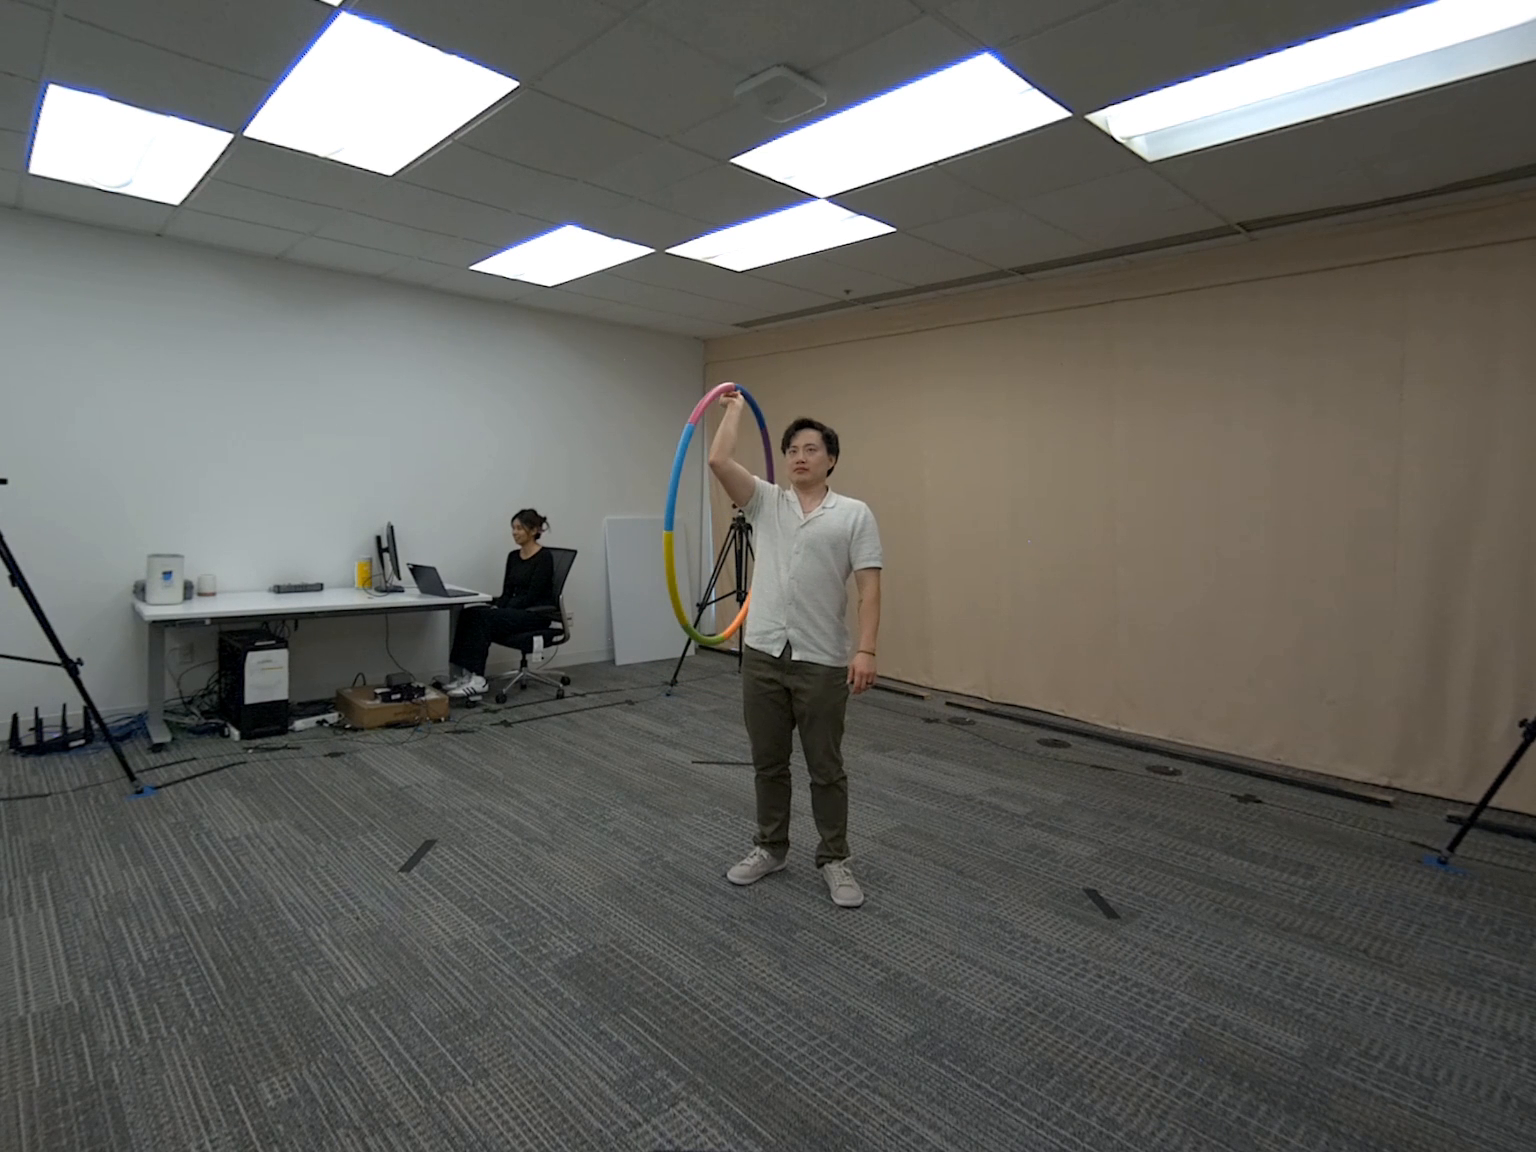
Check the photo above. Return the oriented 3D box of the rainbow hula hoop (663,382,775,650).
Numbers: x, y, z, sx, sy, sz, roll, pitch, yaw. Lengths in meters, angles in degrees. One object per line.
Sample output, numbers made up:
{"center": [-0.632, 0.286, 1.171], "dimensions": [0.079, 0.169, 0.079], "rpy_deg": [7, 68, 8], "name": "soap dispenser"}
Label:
{"center": [-0.161, -0.226, 3.189], "dimensions": [0.036, 0.975, 0.964], "rpy_deg": [7, 6, 20], "name": "rainbow hula hoop"}
